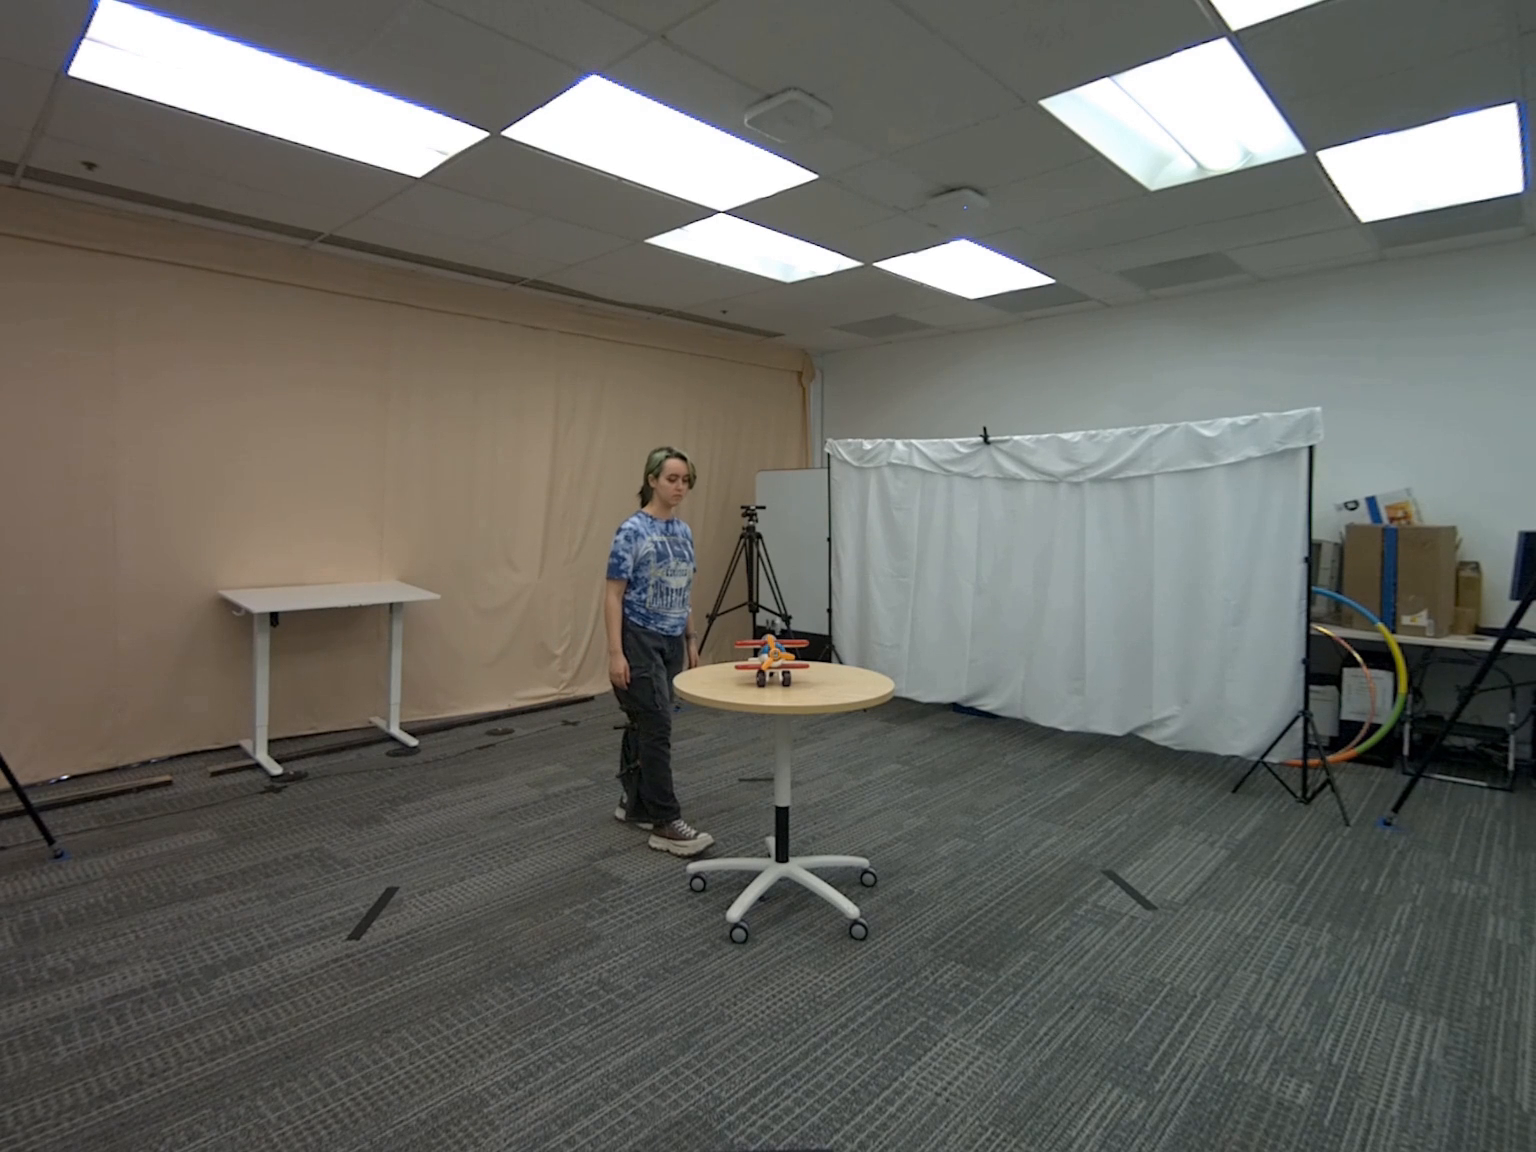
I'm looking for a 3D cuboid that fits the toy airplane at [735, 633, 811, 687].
[{"bbox_3d":[-0.006,0.289,2.908,0.244,0.156,0.267,-3,6,-35],"label":"toy airplane"}]
